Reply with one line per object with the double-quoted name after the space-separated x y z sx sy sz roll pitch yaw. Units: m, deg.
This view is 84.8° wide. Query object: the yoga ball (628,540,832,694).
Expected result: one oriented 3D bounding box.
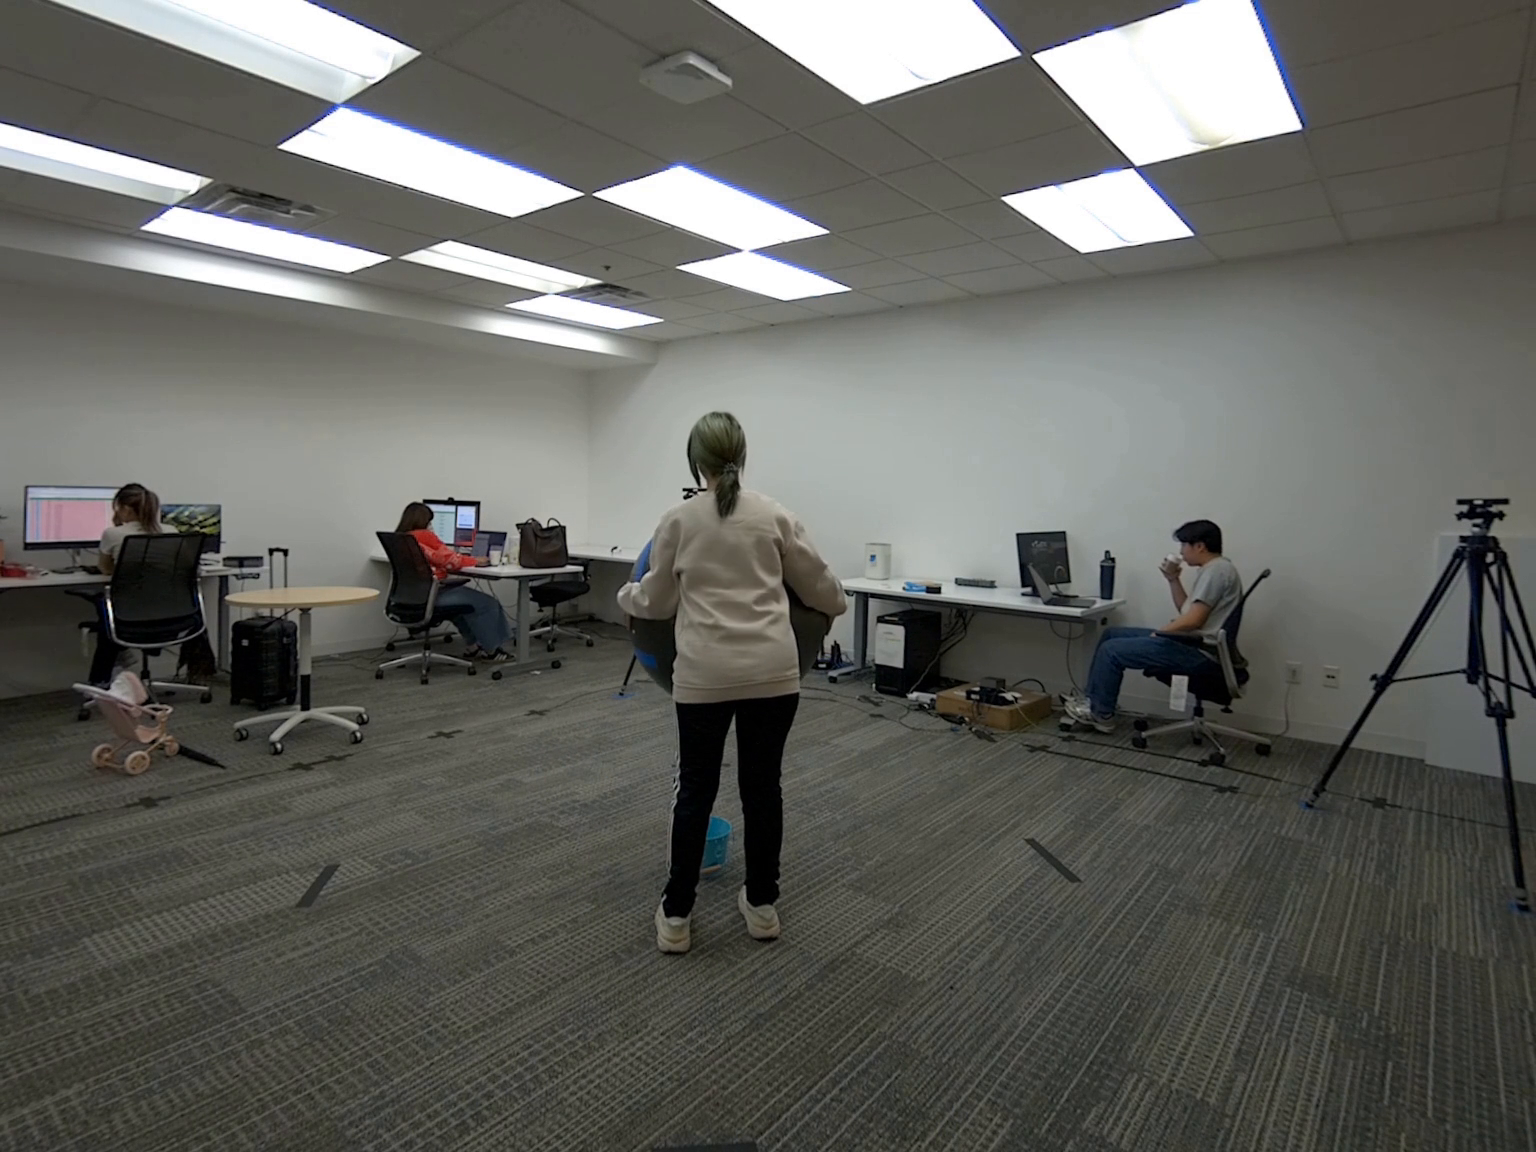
-0.160 0.120 3.148 0.757 0.756 0.762 1 4 -2 "yoga ball"
